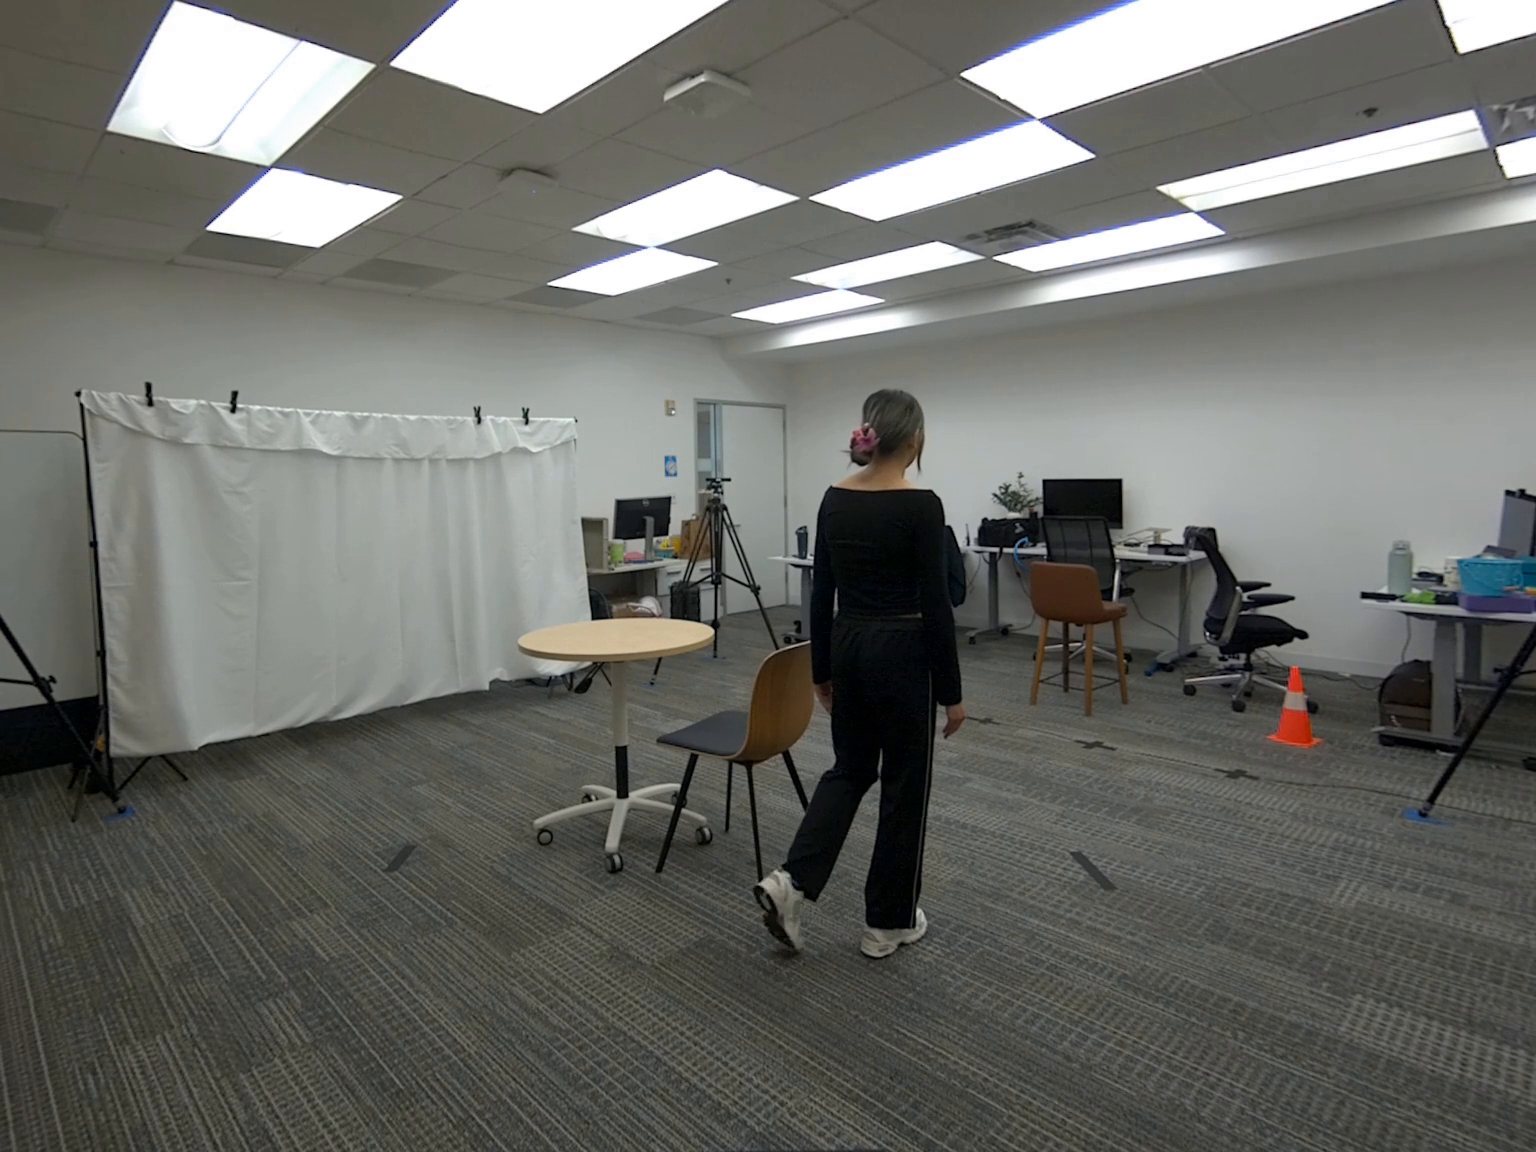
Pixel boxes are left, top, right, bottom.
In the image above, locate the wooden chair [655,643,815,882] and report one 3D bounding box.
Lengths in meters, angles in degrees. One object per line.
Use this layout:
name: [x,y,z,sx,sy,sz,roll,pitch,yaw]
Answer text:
wooden chair: [-0.100,0.619,3.062,0.539,0.872,0.466,8,8,33]
